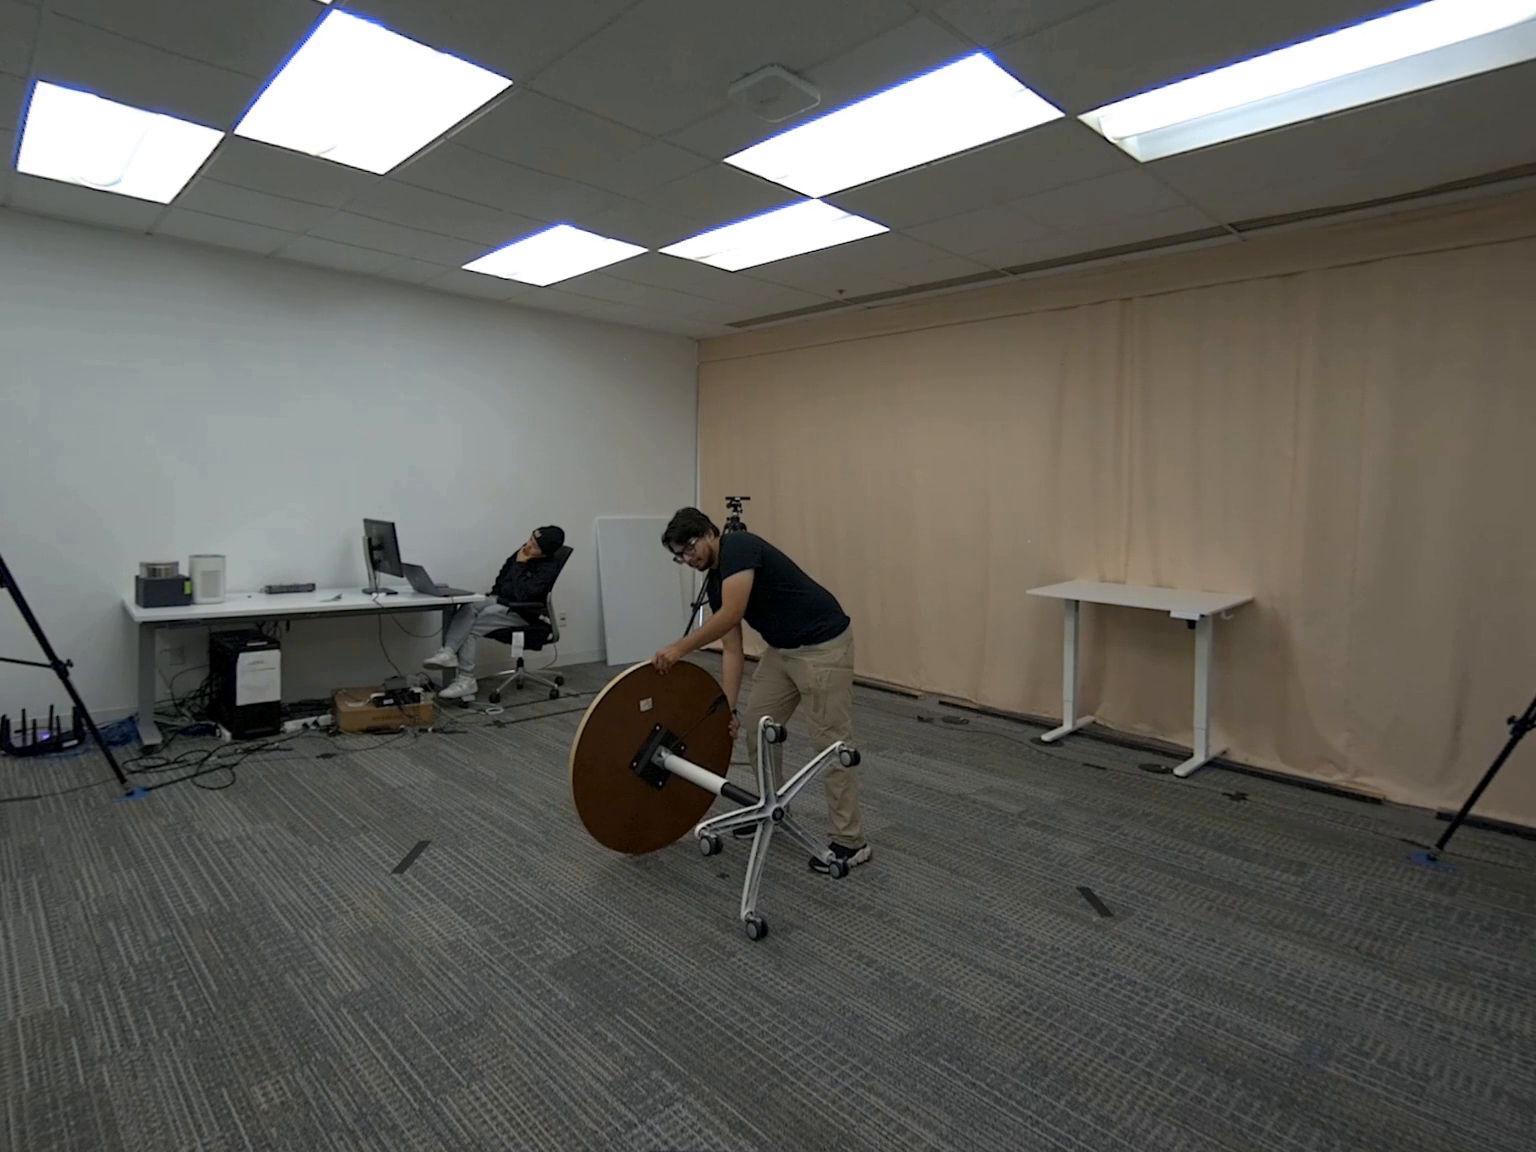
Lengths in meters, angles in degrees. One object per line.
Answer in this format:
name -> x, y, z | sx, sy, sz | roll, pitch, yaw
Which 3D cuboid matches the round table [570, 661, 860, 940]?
round table -> -0.185, 0.741, 2.993 | 0.767, 0.782, 0.807 | -2, 7, -41
